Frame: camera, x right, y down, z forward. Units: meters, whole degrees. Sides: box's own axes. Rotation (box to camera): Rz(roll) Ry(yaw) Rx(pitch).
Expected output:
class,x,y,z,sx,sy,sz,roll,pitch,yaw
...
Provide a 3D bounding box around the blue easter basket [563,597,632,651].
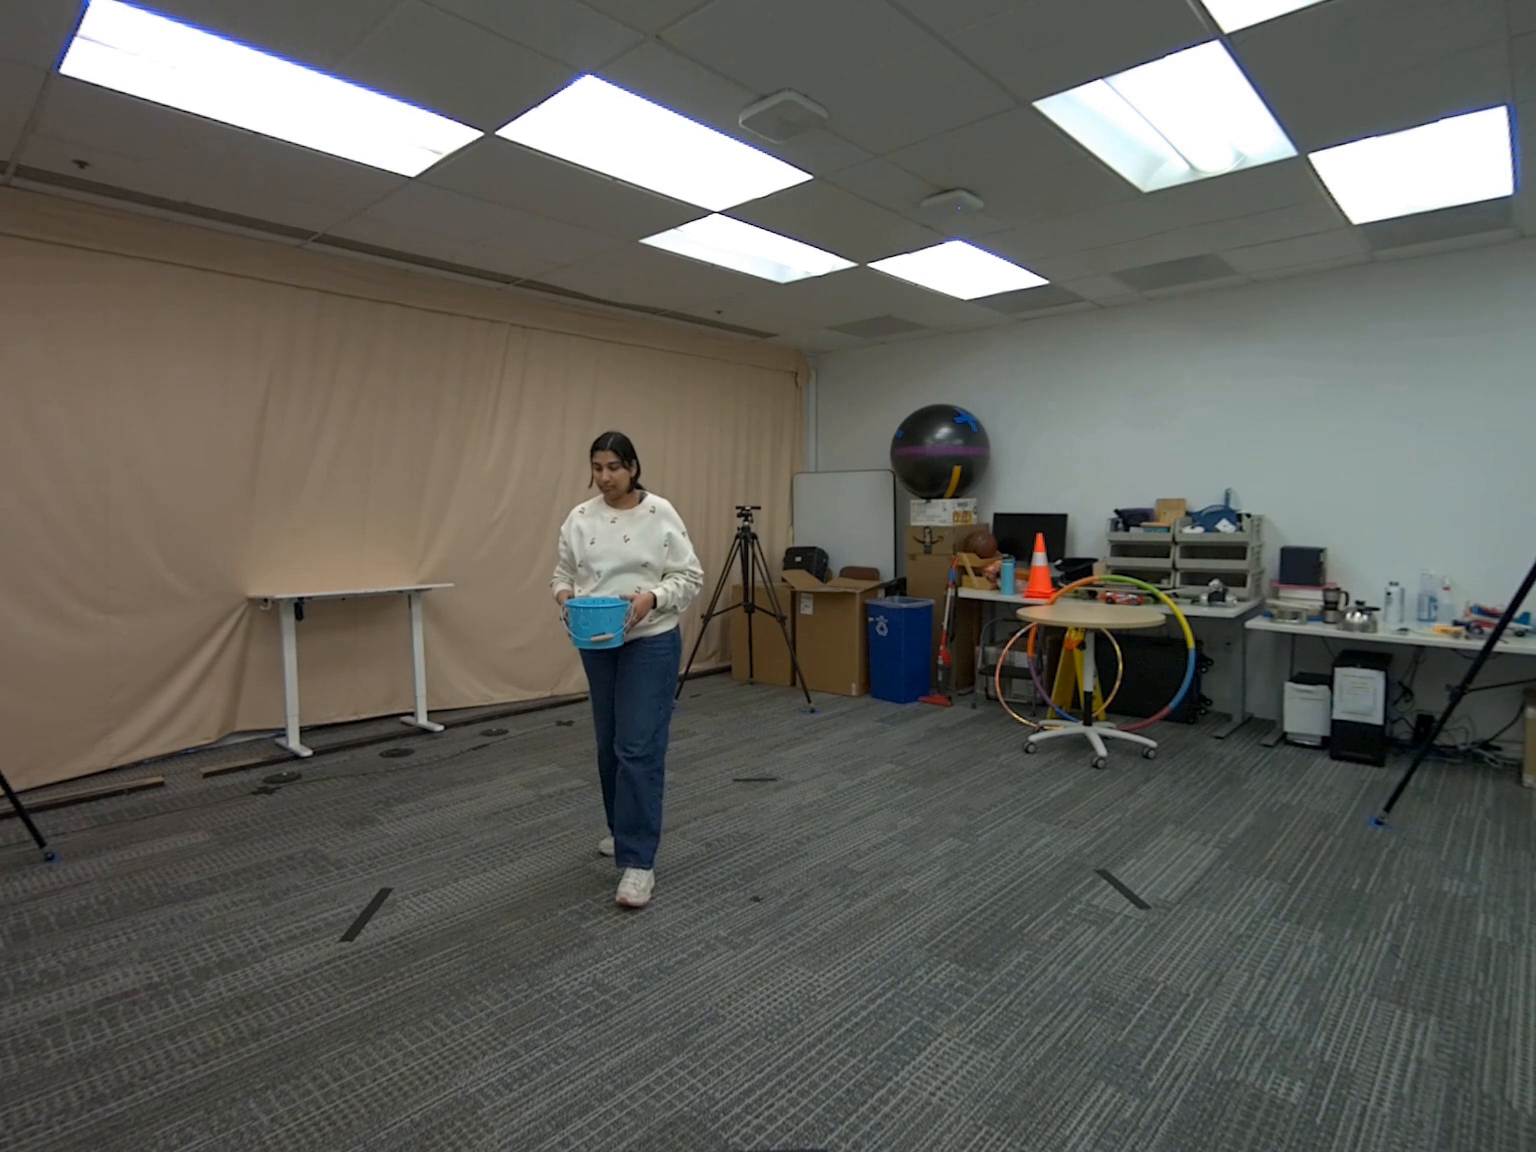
class,x,y,z,sx,sy,sz,roll,pitch,yaw
blue easter basket,-0.621,0.167,2.969,0.243,0.156,0.244,-2,2,-2
